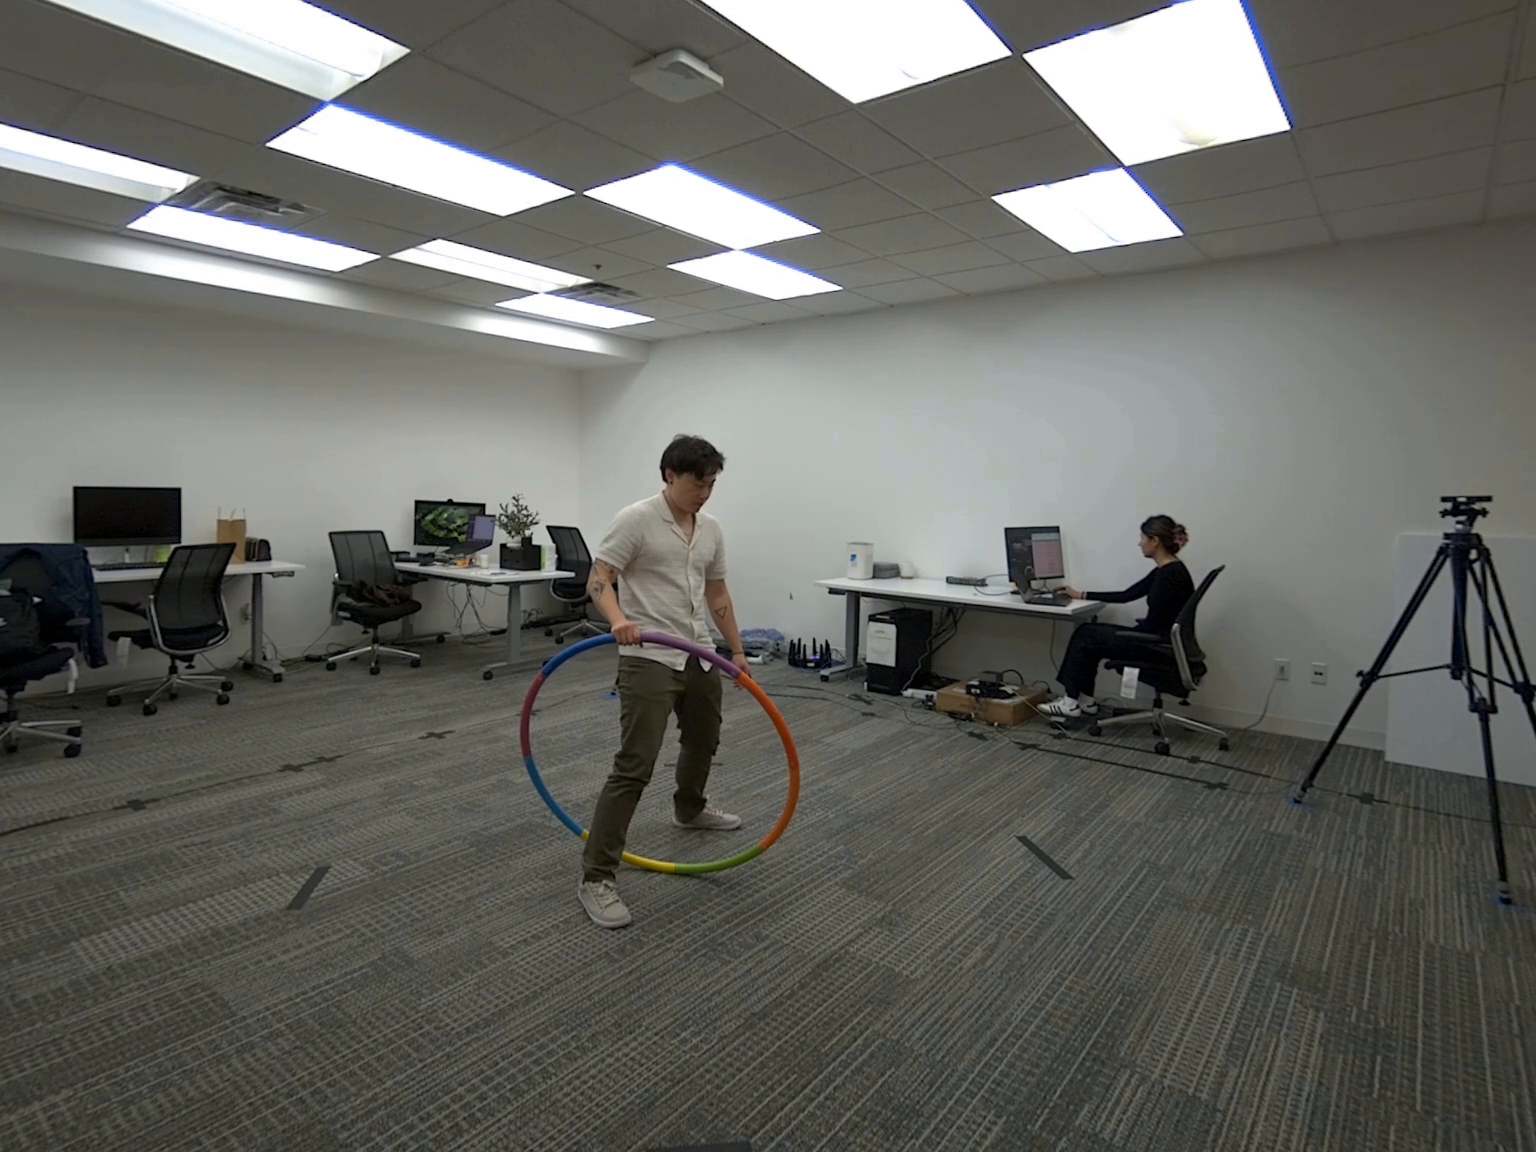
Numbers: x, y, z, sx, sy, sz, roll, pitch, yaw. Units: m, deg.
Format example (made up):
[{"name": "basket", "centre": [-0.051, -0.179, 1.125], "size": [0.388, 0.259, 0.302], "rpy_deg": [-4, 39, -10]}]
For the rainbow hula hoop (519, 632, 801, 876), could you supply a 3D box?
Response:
[{"name": "rainbow hula hoop", "centre": [-0.395, 0.623, 2.904], "size": [0.993, 0.958, 0.036], "rpy_deg": [2, 23, 14]}]
